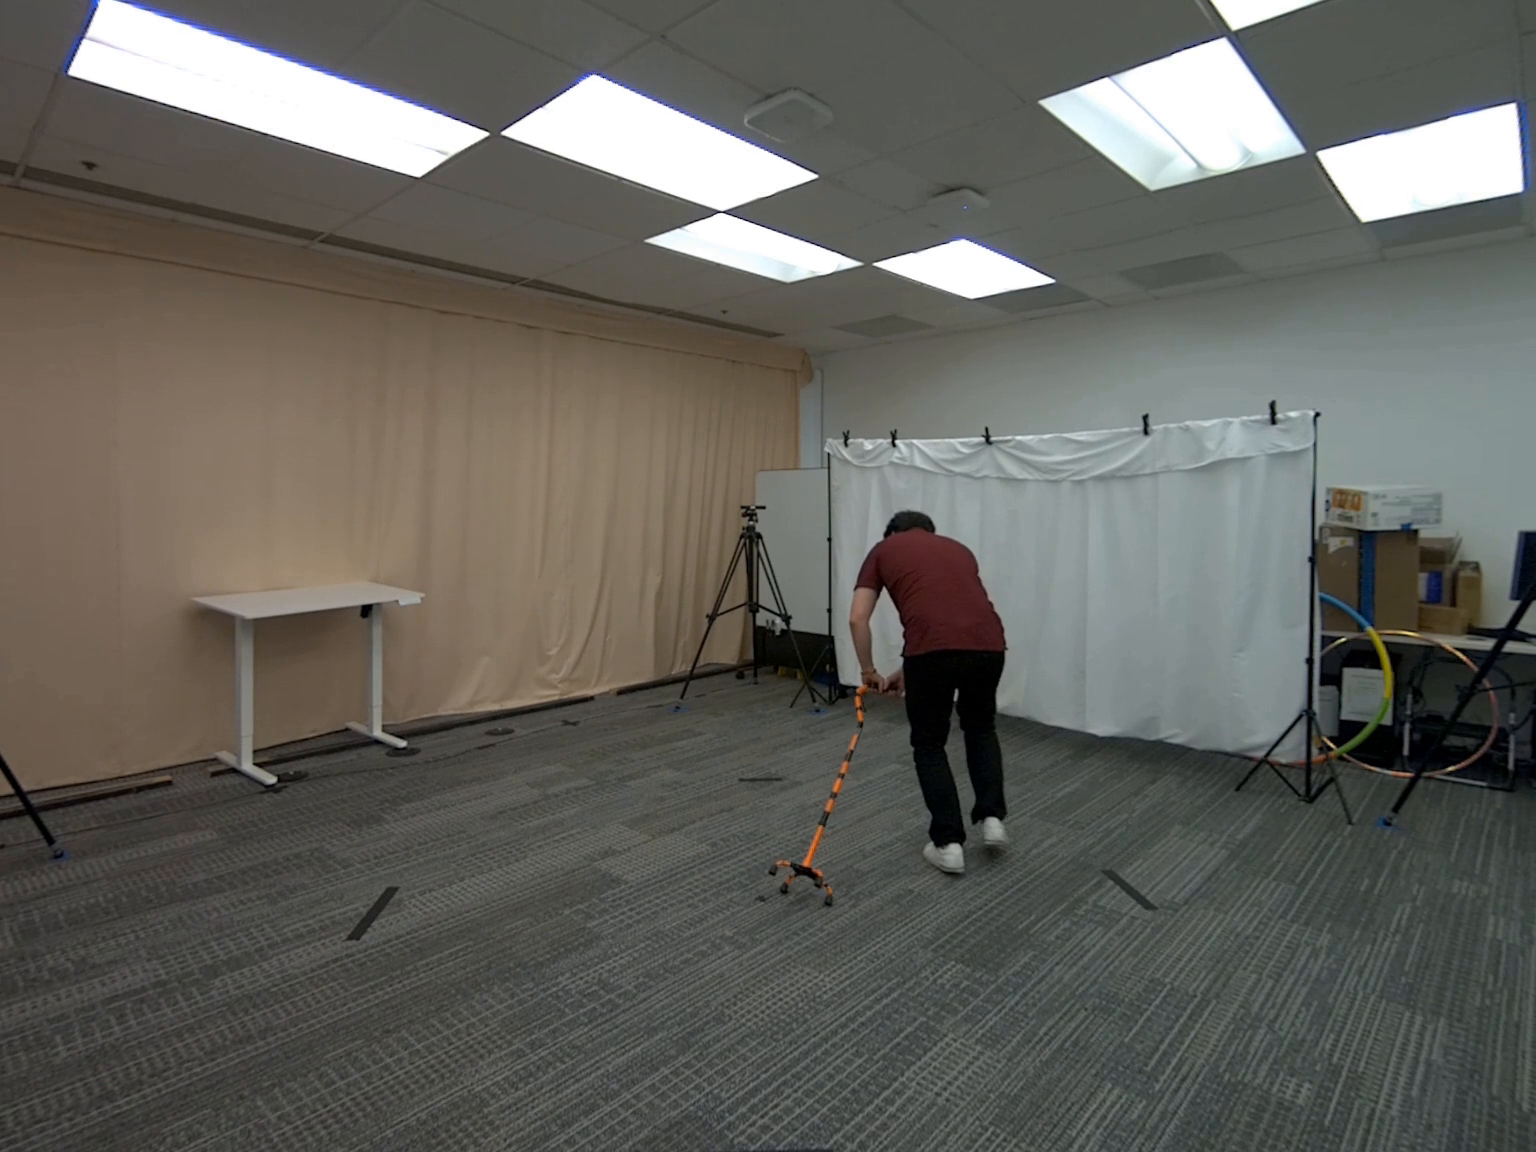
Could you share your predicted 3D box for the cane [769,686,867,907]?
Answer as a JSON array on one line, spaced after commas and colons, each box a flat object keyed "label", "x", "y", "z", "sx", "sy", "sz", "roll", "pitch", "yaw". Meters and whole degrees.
[{"label": "cane", "x": 0.288, "y": 0.779, "z": 3.206, "sx": 0.212, "sy": 0.147, "sz": 0.907, "roll": 3, "pitch": 45, "yaw": 31}]
